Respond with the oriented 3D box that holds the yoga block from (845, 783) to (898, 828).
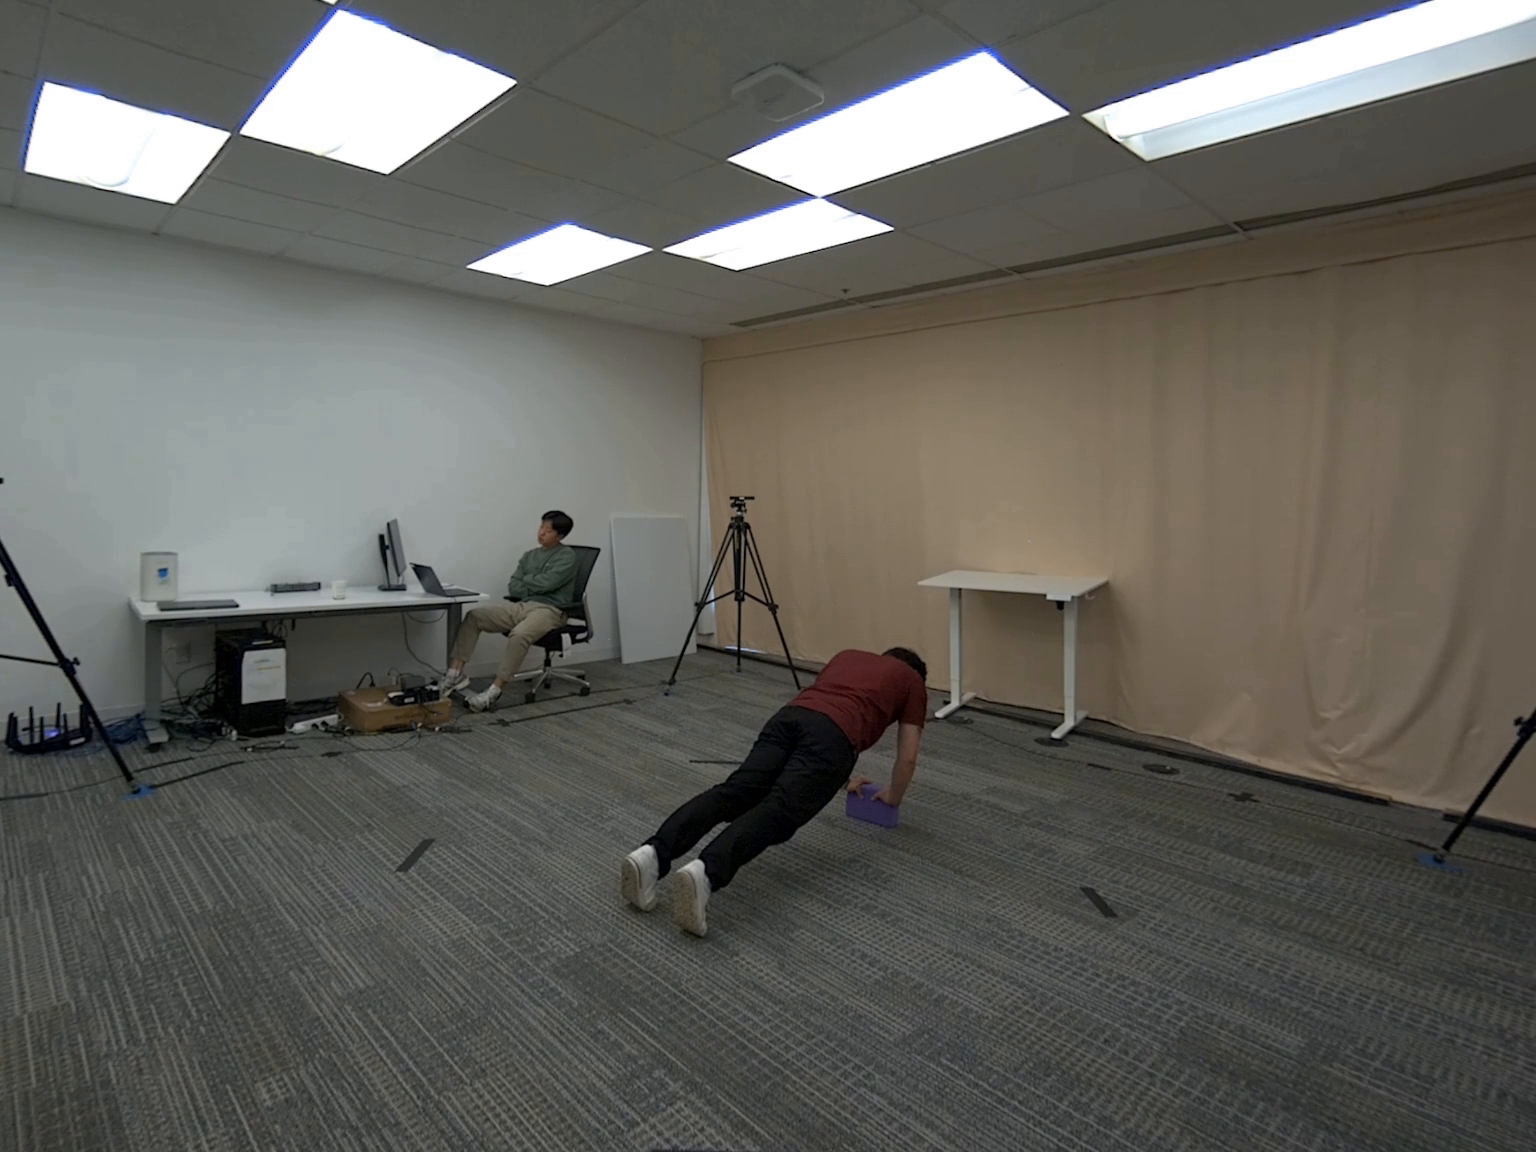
[{"bbox_3d":[0.447,1.000,3.695,0.235,0.149,0.074,4,-3,38],"label":"yoga block"}]
